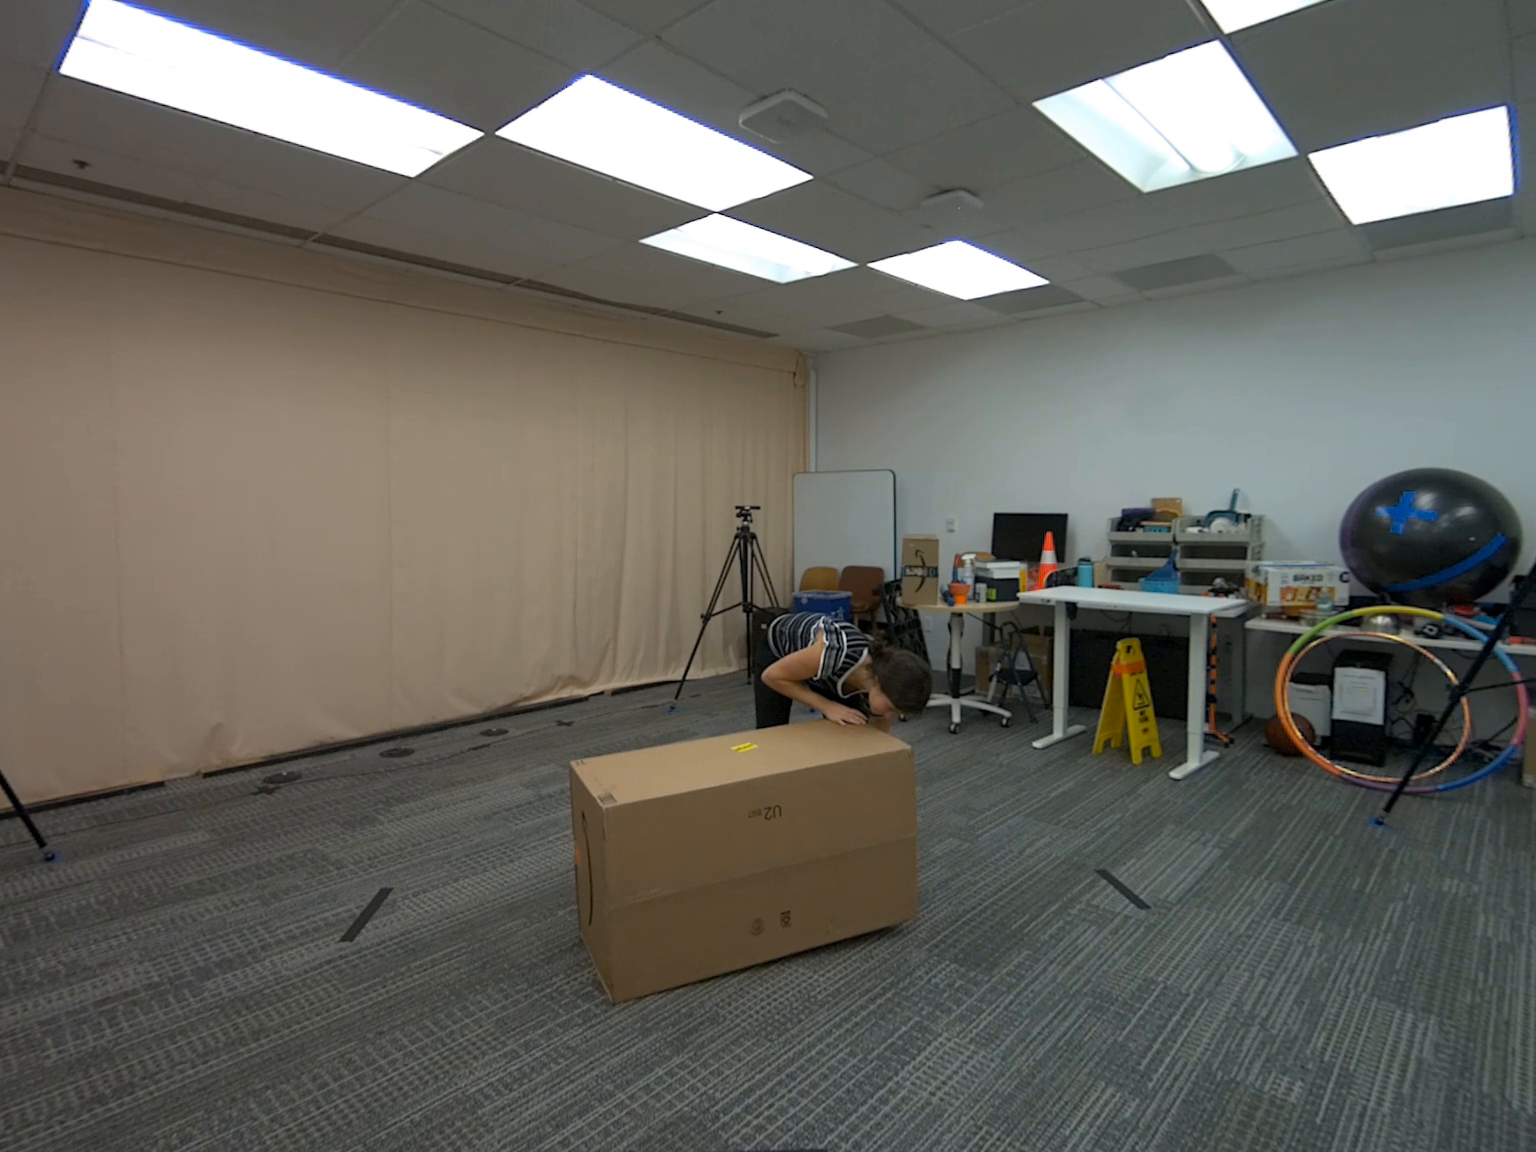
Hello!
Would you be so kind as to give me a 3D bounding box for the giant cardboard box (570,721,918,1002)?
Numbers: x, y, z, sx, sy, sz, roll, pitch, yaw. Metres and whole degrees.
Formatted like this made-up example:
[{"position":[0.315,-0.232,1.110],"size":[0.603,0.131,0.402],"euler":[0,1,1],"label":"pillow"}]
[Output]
[{"position":[-0.078,0.854,2.696],"size":[1.005,0.575,0.437],"euler":[-5,6,-22],"label":"giant cardboard box"}]
